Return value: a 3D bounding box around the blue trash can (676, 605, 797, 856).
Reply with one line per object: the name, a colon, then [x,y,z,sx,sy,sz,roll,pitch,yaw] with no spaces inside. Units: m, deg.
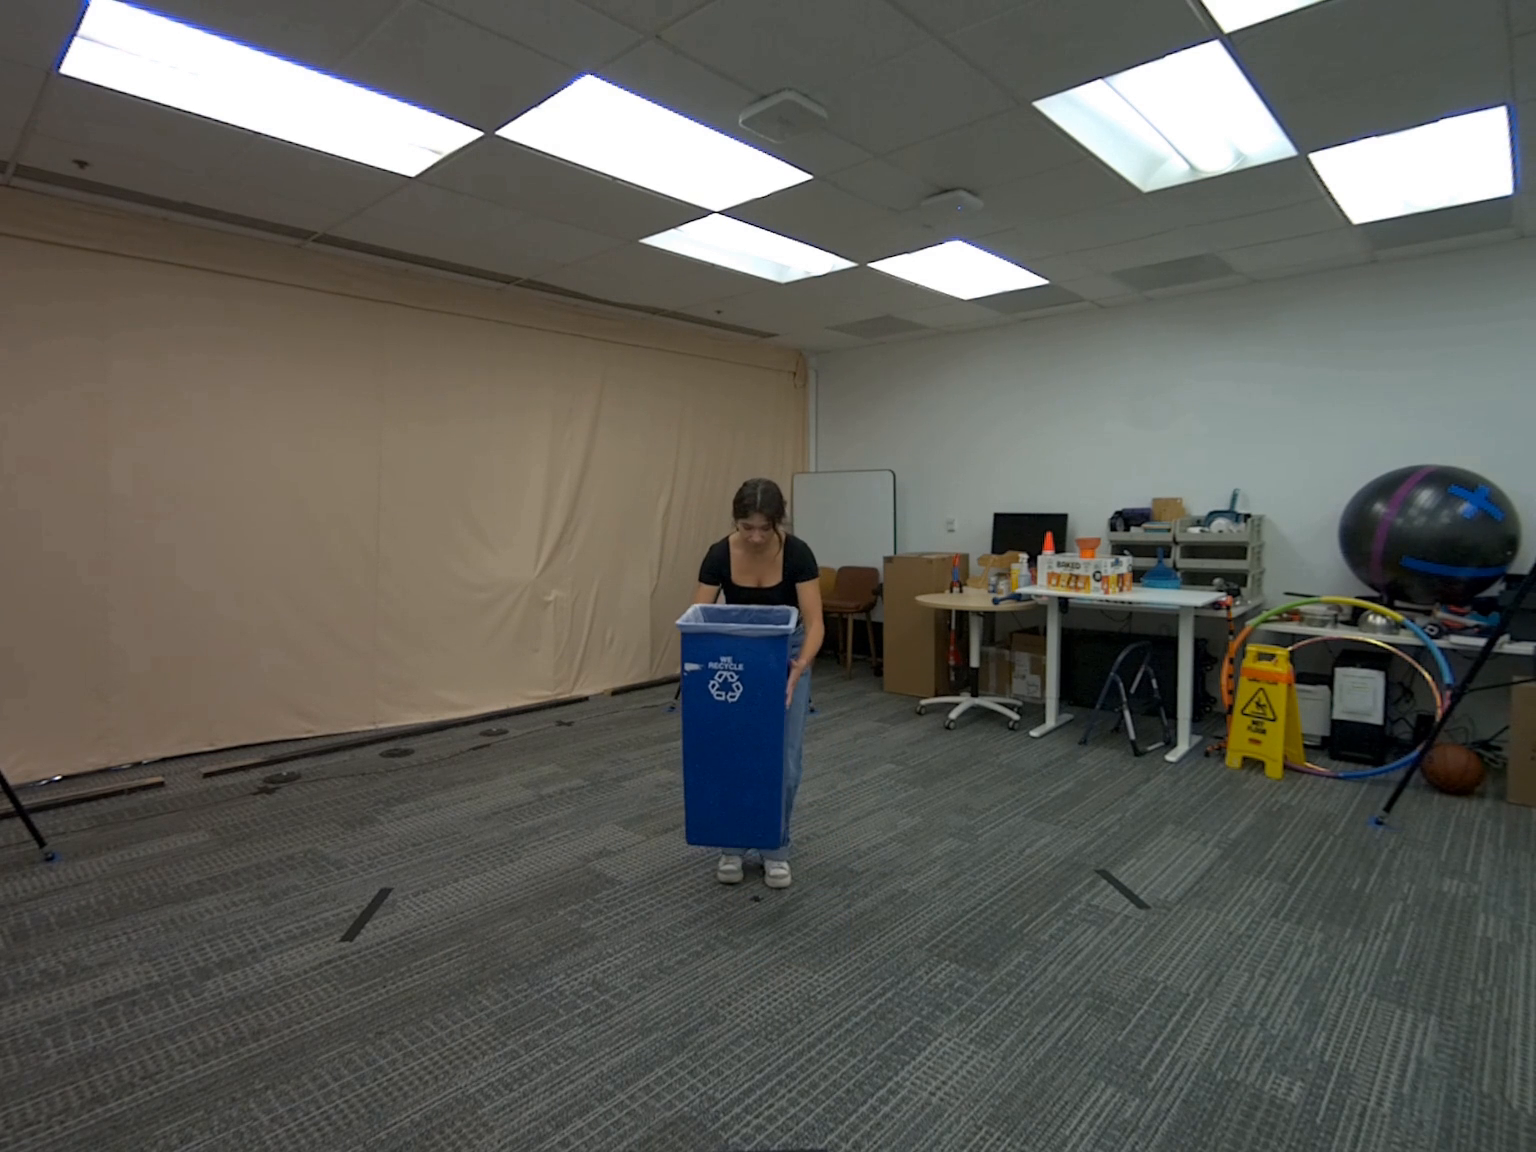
blue trash can: [-0.085,0.482,2.749,0.377,0.711,0.376,1,6,7]
